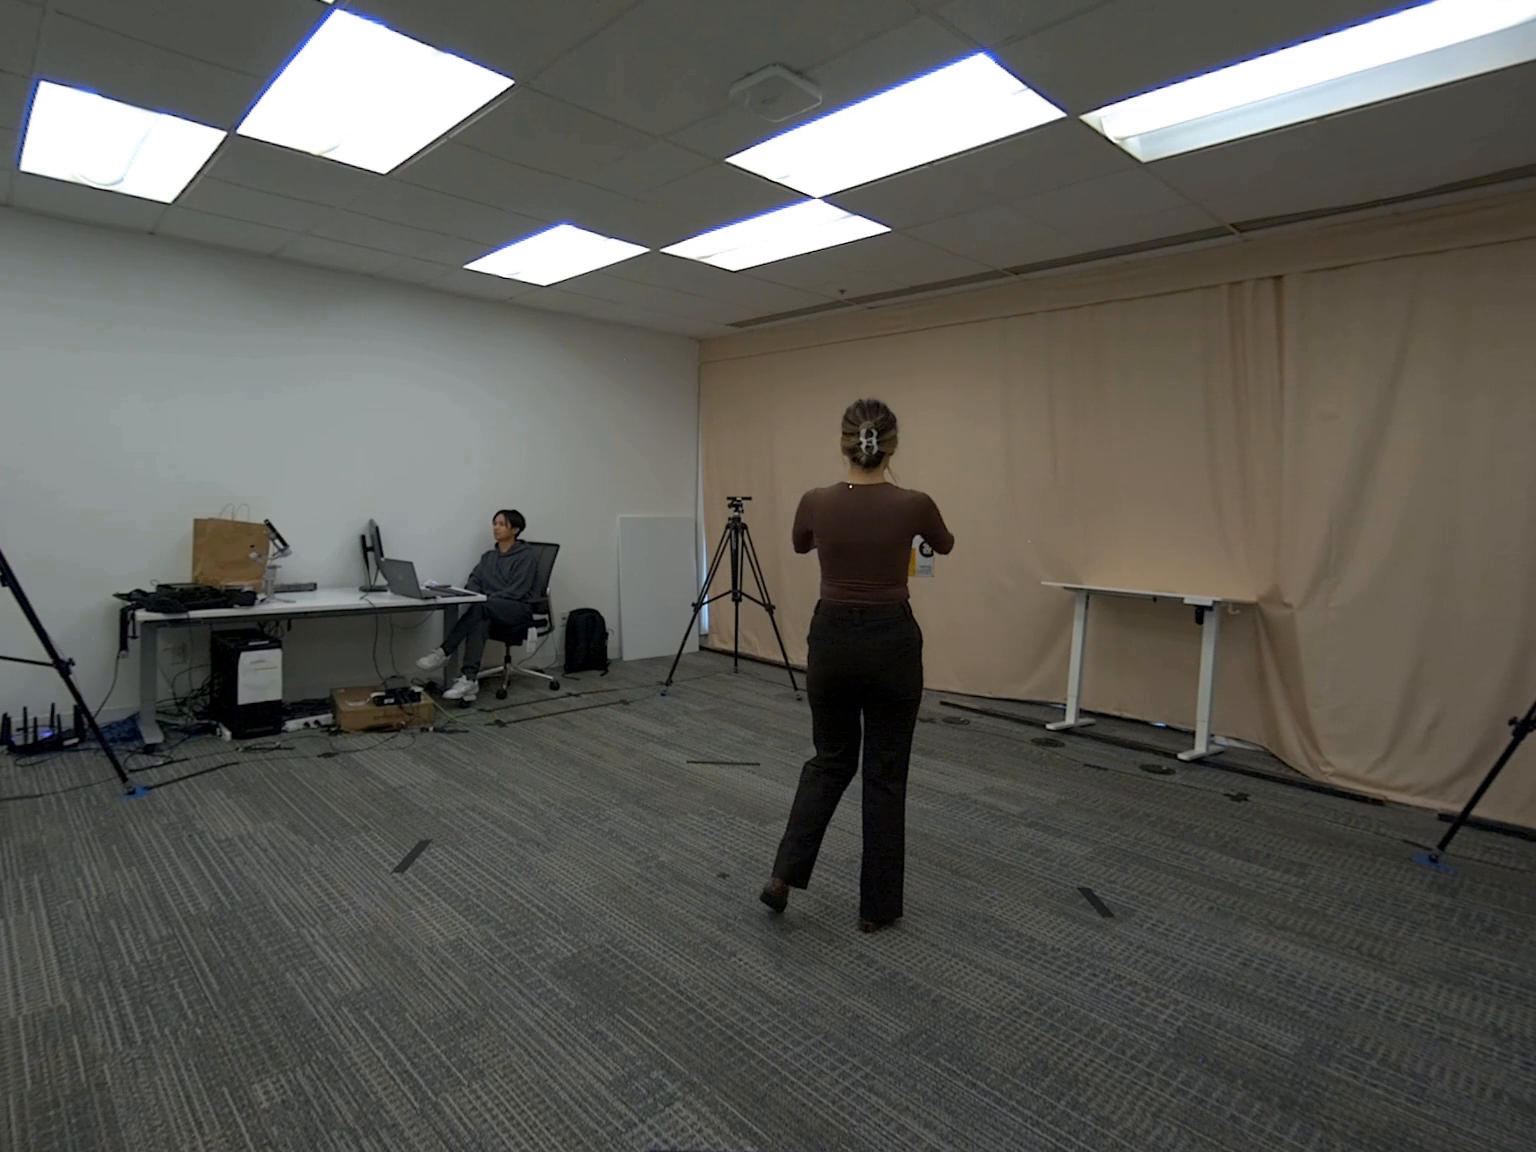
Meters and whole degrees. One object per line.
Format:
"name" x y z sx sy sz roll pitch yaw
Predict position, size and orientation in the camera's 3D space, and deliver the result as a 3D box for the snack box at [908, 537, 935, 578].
"snack box" 0.442 -0.105 3.311 0.410 0.205 0.337 2 3 13
